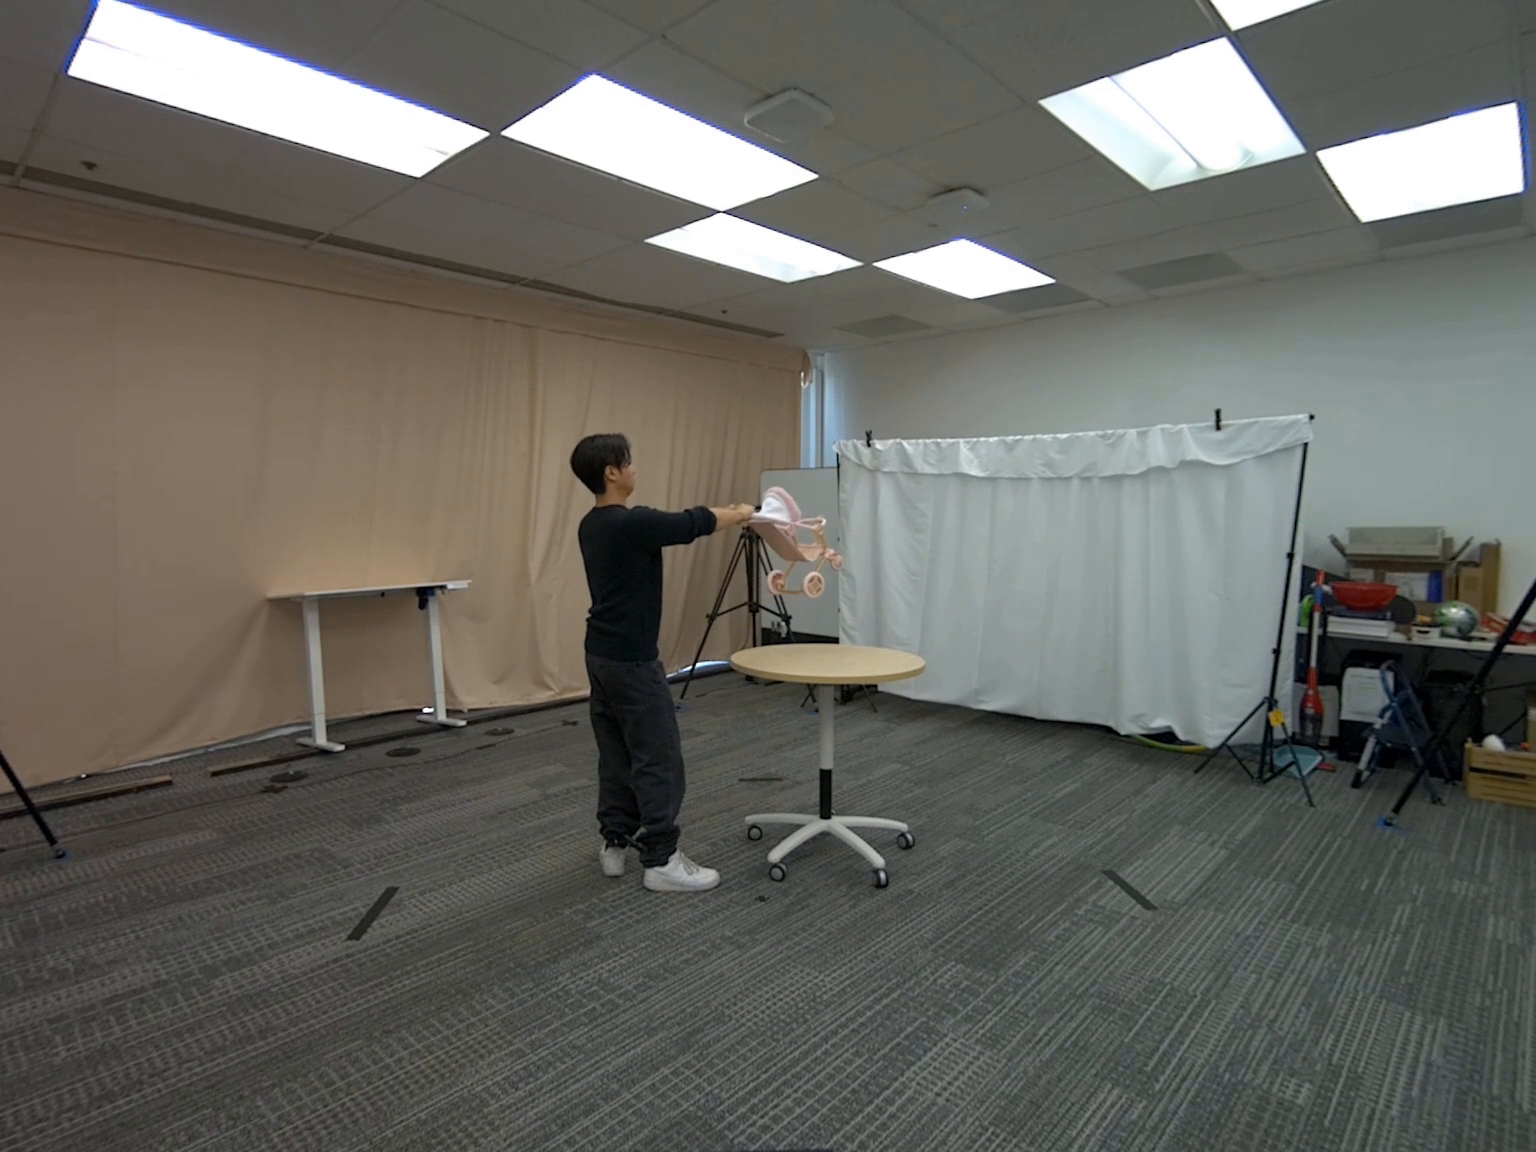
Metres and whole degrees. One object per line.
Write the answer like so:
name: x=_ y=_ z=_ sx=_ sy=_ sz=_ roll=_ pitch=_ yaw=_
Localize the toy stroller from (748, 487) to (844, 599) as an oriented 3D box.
toy stroller: x=0.109 y=-0.152 z=3.589 sx=0.338 sy=0.524 sz=0.290 roll=-41 pitch=21 yaw=-22
